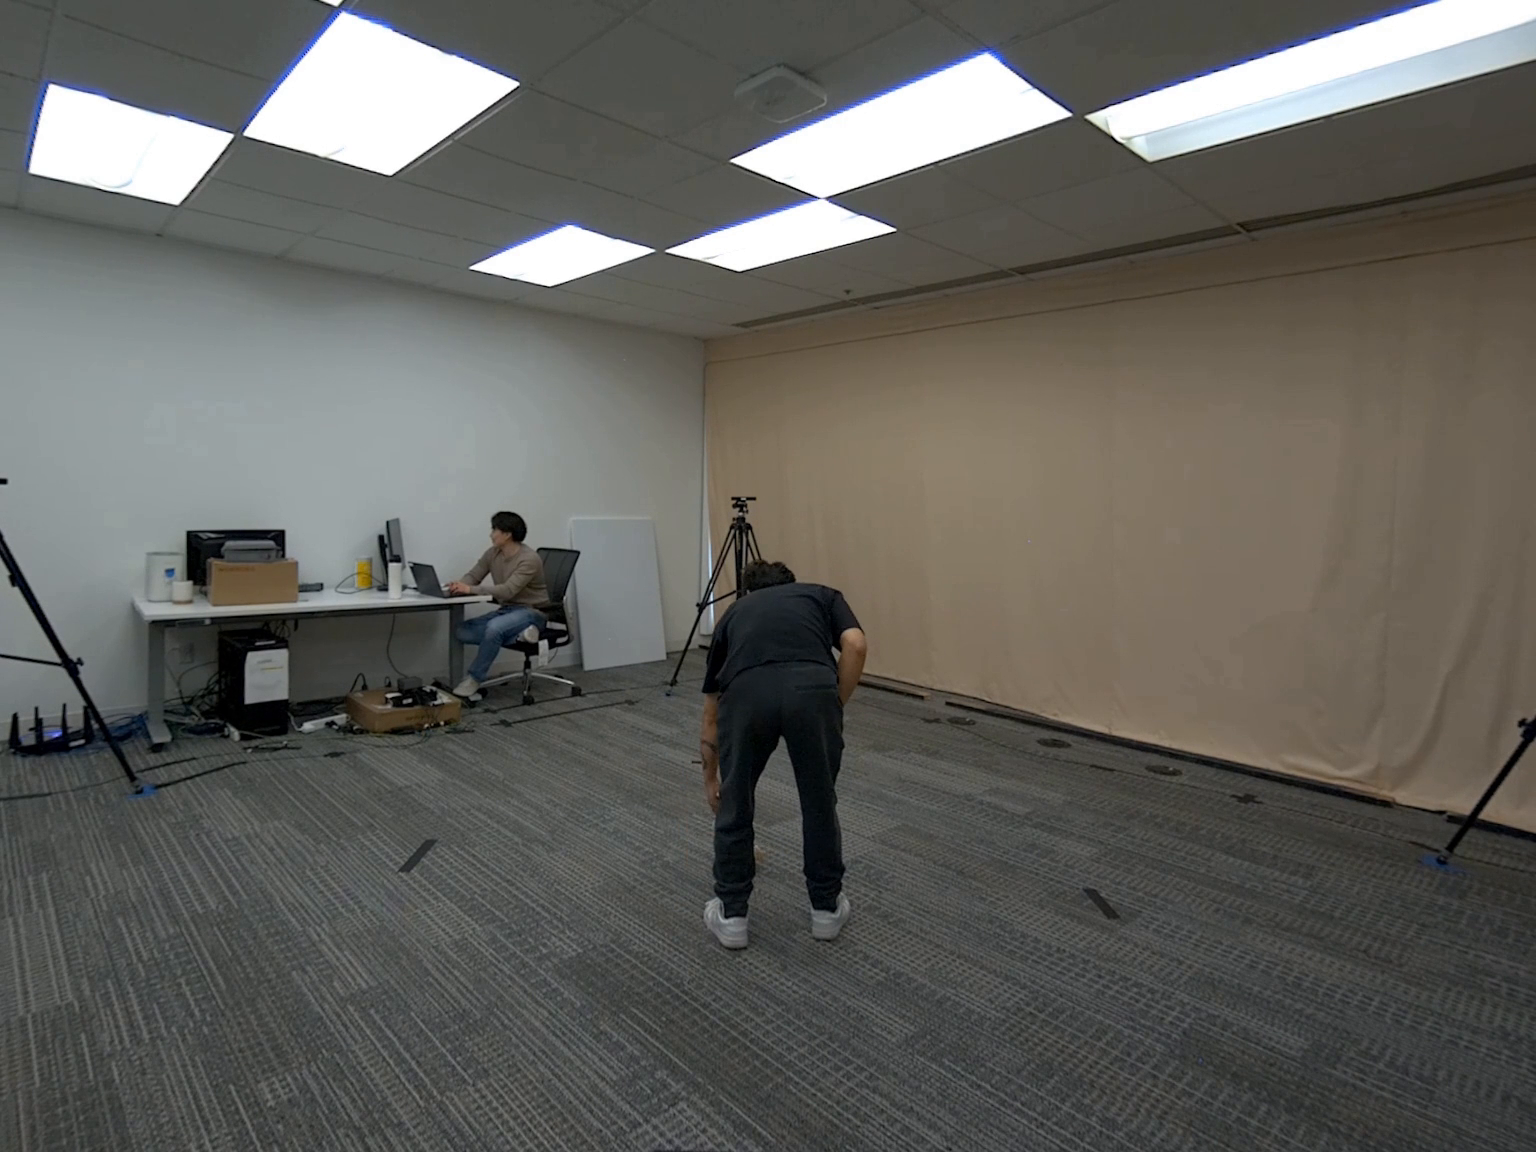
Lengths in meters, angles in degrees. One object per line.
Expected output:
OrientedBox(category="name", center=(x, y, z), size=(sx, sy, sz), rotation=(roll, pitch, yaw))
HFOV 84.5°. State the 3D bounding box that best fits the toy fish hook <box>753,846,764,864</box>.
OrientedBox(category="toy fish hook", center=(-0.123, 0.927, 3.063), size=(0.229, 0.048, 0.495), rotation=(24, -33, 18))
